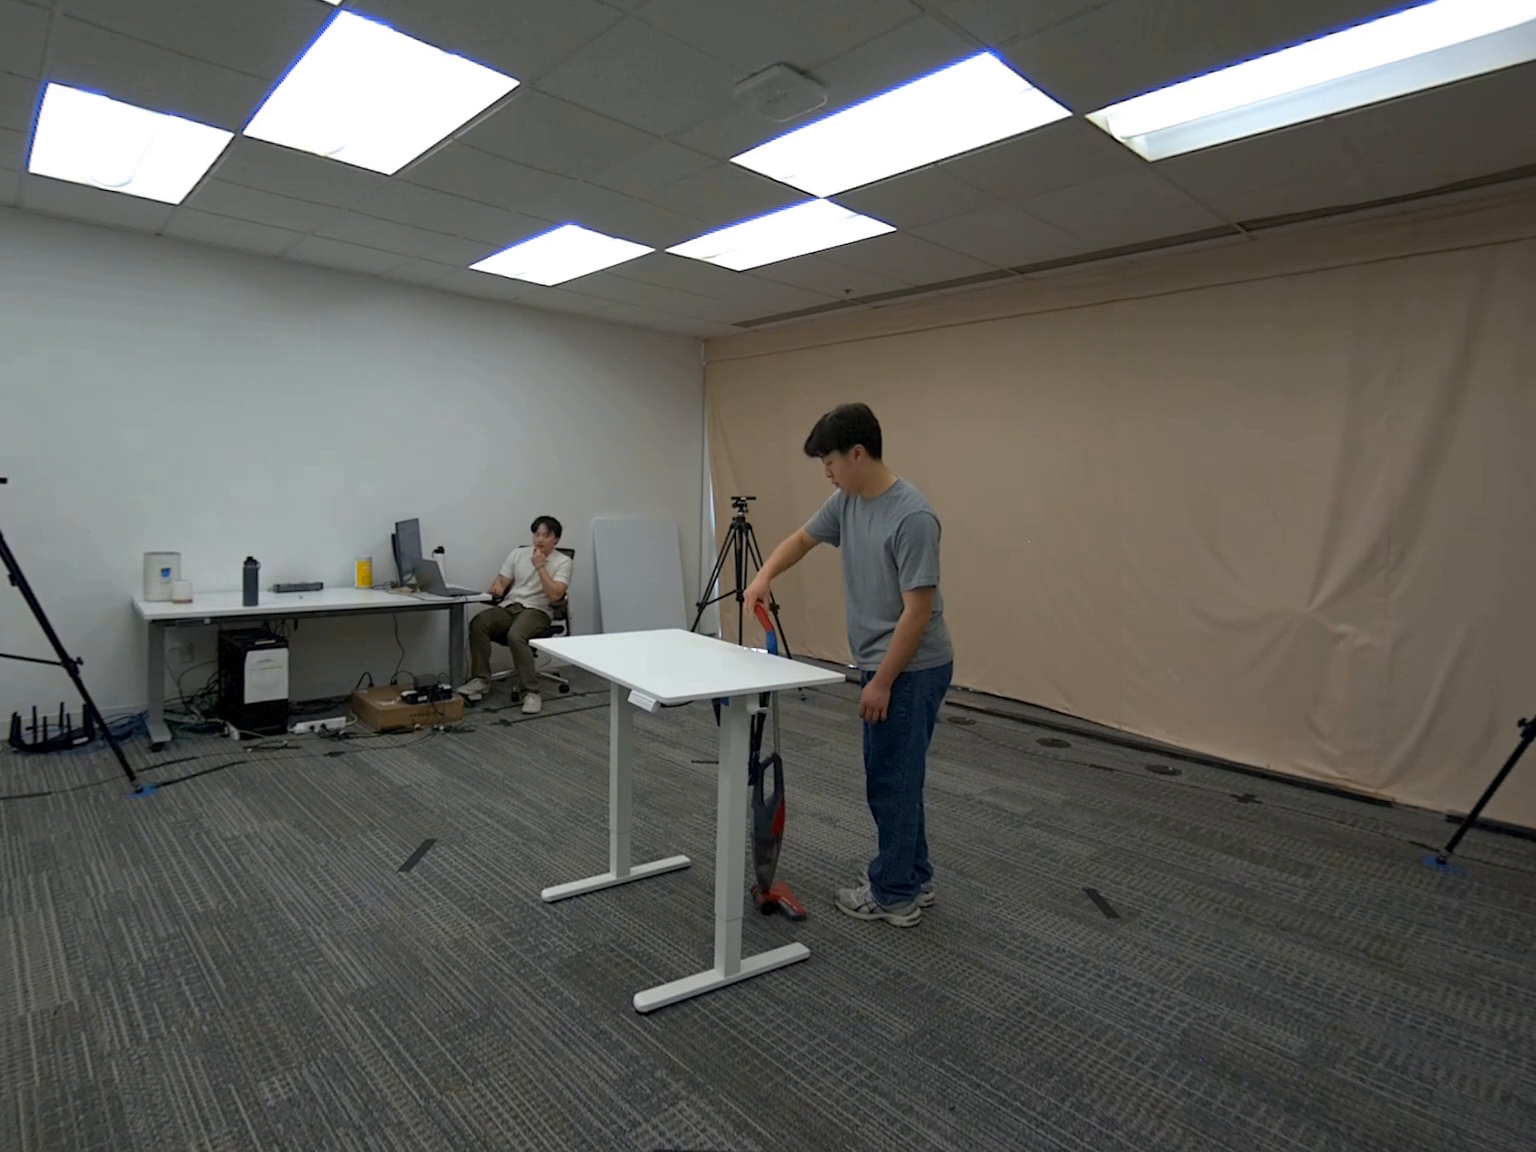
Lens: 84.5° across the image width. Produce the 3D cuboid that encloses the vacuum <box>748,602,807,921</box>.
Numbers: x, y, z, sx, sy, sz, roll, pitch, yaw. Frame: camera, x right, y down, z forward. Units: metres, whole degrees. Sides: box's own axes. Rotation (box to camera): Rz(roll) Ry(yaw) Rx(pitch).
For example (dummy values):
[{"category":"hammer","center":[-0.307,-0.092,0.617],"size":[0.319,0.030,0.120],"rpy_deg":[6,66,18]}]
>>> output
[{"category":"vacuum","center":[-0.019,0.617,2.846],"size":[0.143,1.047,0.254],"rpy_deg":[-6,2,-9]}]
